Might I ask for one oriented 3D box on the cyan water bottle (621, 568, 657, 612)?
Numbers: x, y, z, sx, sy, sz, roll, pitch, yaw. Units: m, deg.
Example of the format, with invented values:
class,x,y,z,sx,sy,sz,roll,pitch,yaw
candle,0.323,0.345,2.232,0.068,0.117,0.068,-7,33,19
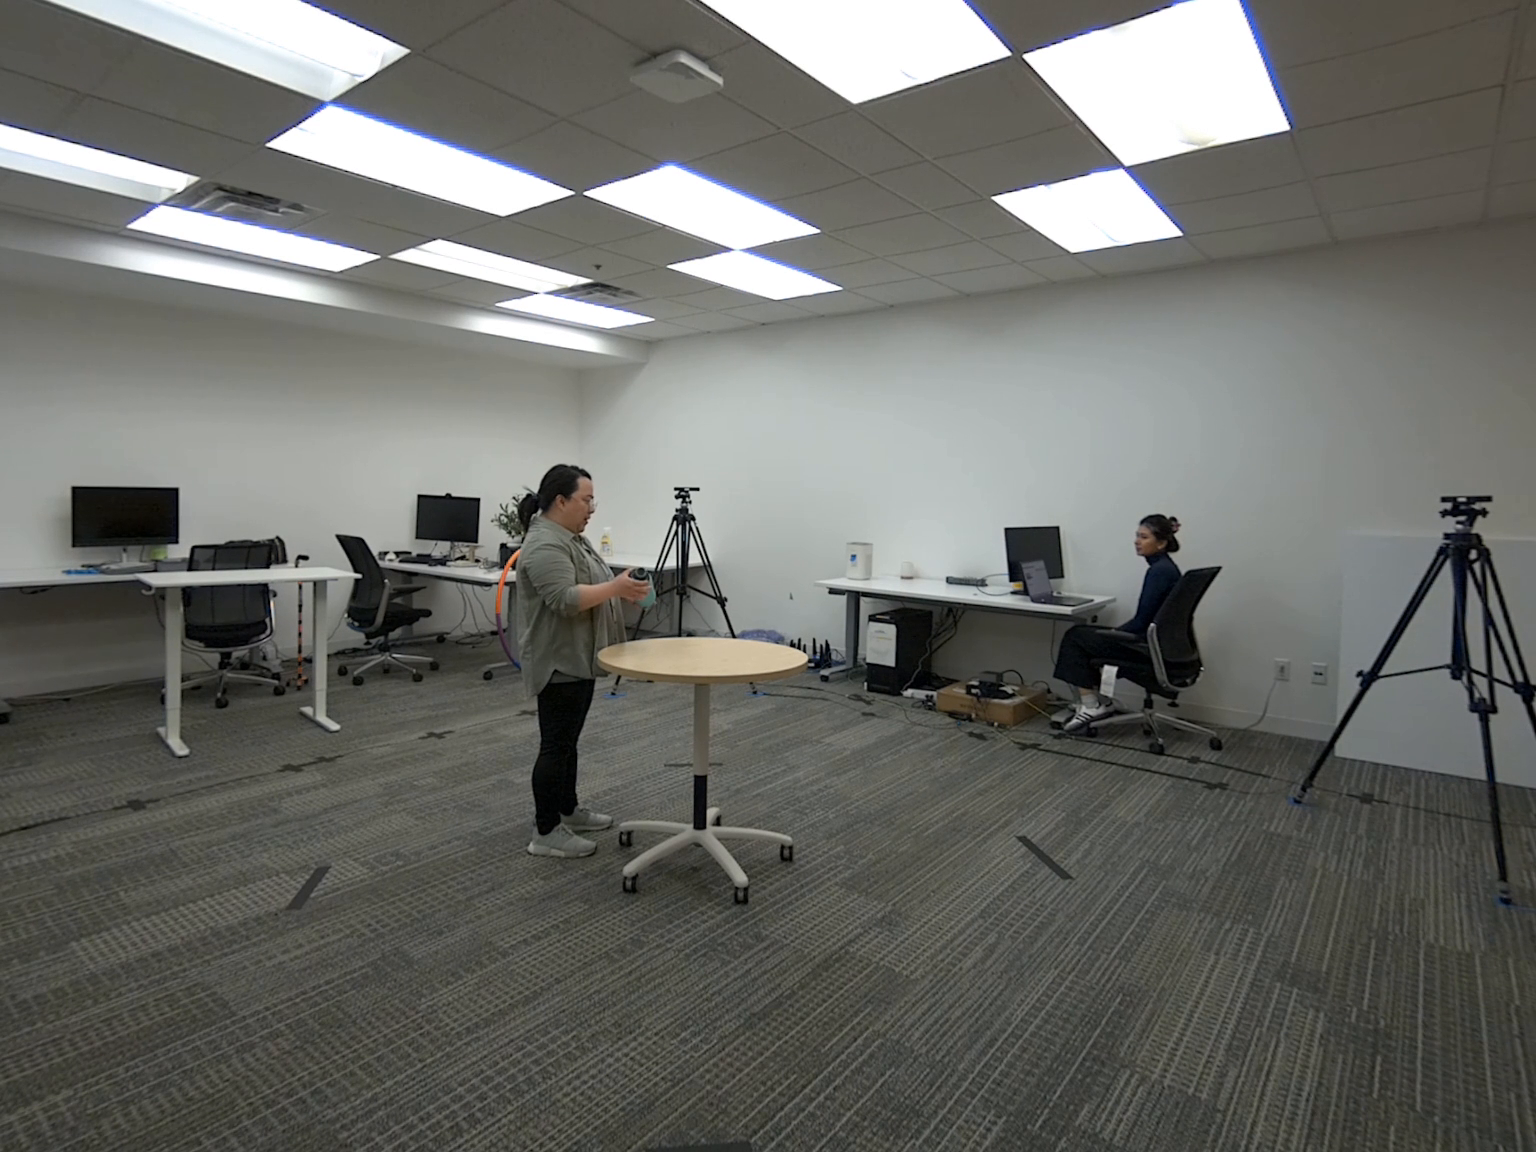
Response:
class,x,y,z,sx,sy,sz,roll,pitch,yaw
cyan water bottle,-0.510,0.043,3.307,0.092,0.094,0.277,2,-21,2
